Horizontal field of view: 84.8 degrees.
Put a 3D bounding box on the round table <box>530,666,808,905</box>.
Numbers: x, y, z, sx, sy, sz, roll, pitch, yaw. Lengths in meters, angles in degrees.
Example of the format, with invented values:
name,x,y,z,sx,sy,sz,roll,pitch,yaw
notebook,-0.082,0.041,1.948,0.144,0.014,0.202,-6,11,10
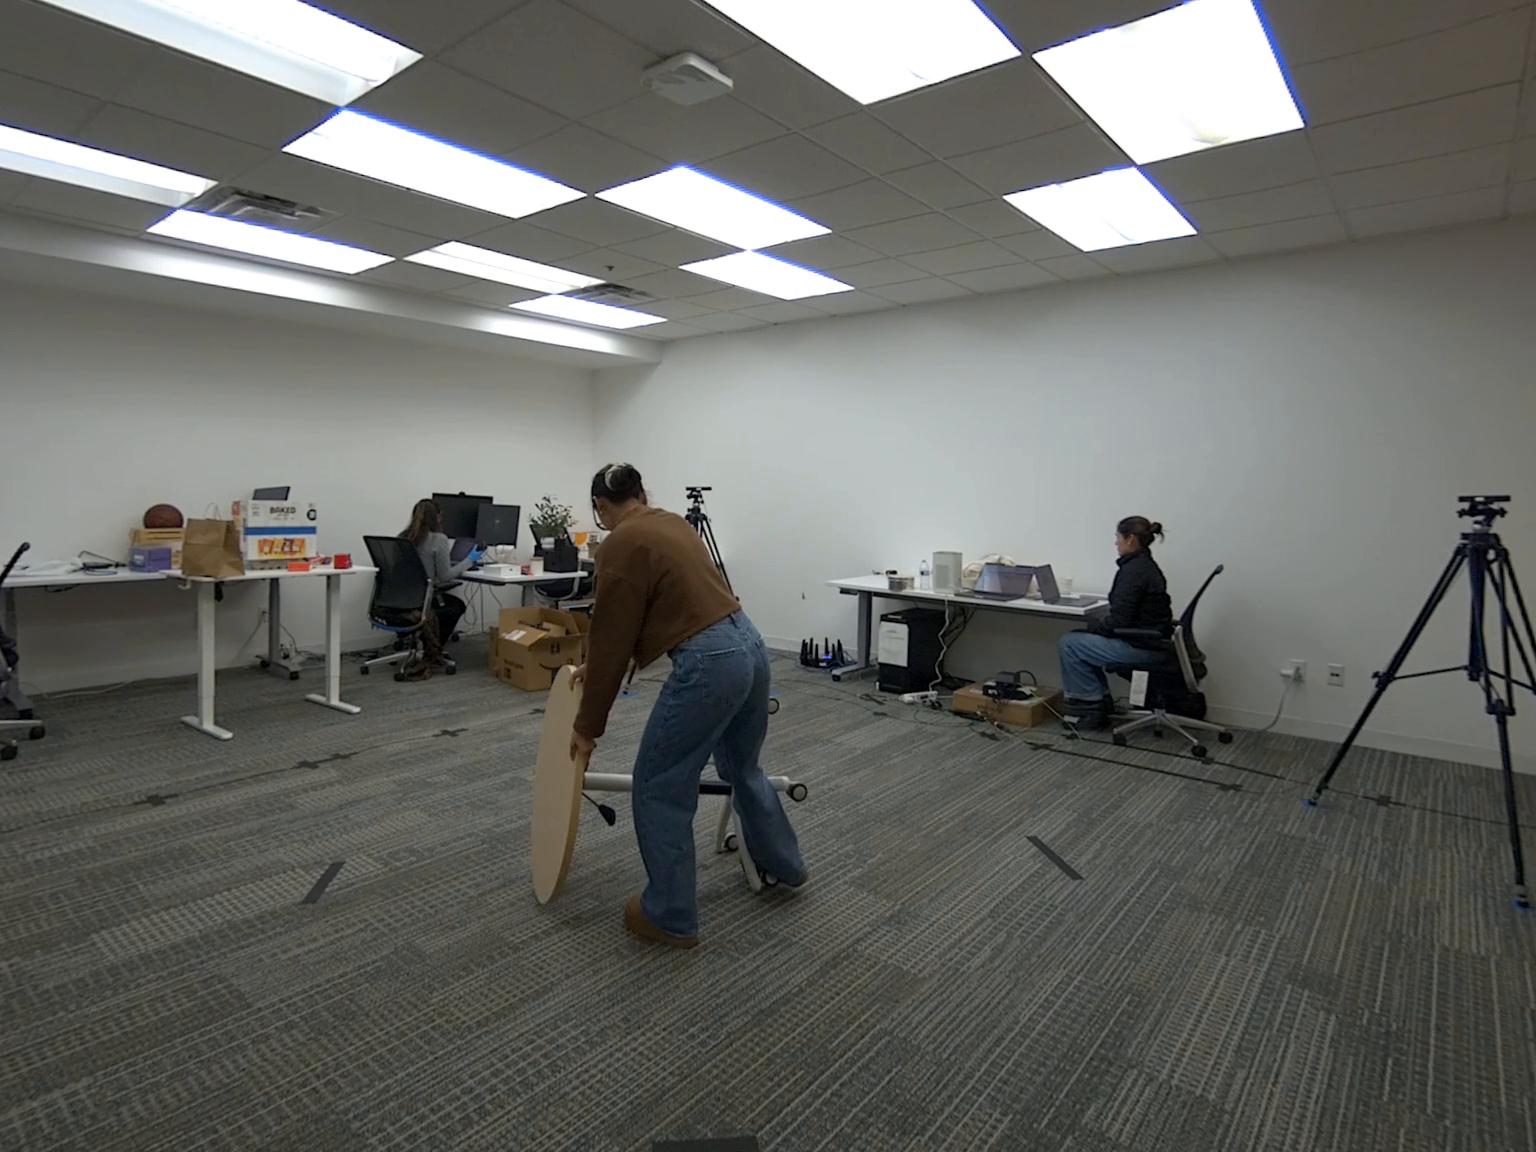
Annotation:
name,x,y,z,sx,sy,sz,roll,pitch,yaw
round table,-0.375,0.737,2.984,0.777,0.763,0.781,8,1,-20
